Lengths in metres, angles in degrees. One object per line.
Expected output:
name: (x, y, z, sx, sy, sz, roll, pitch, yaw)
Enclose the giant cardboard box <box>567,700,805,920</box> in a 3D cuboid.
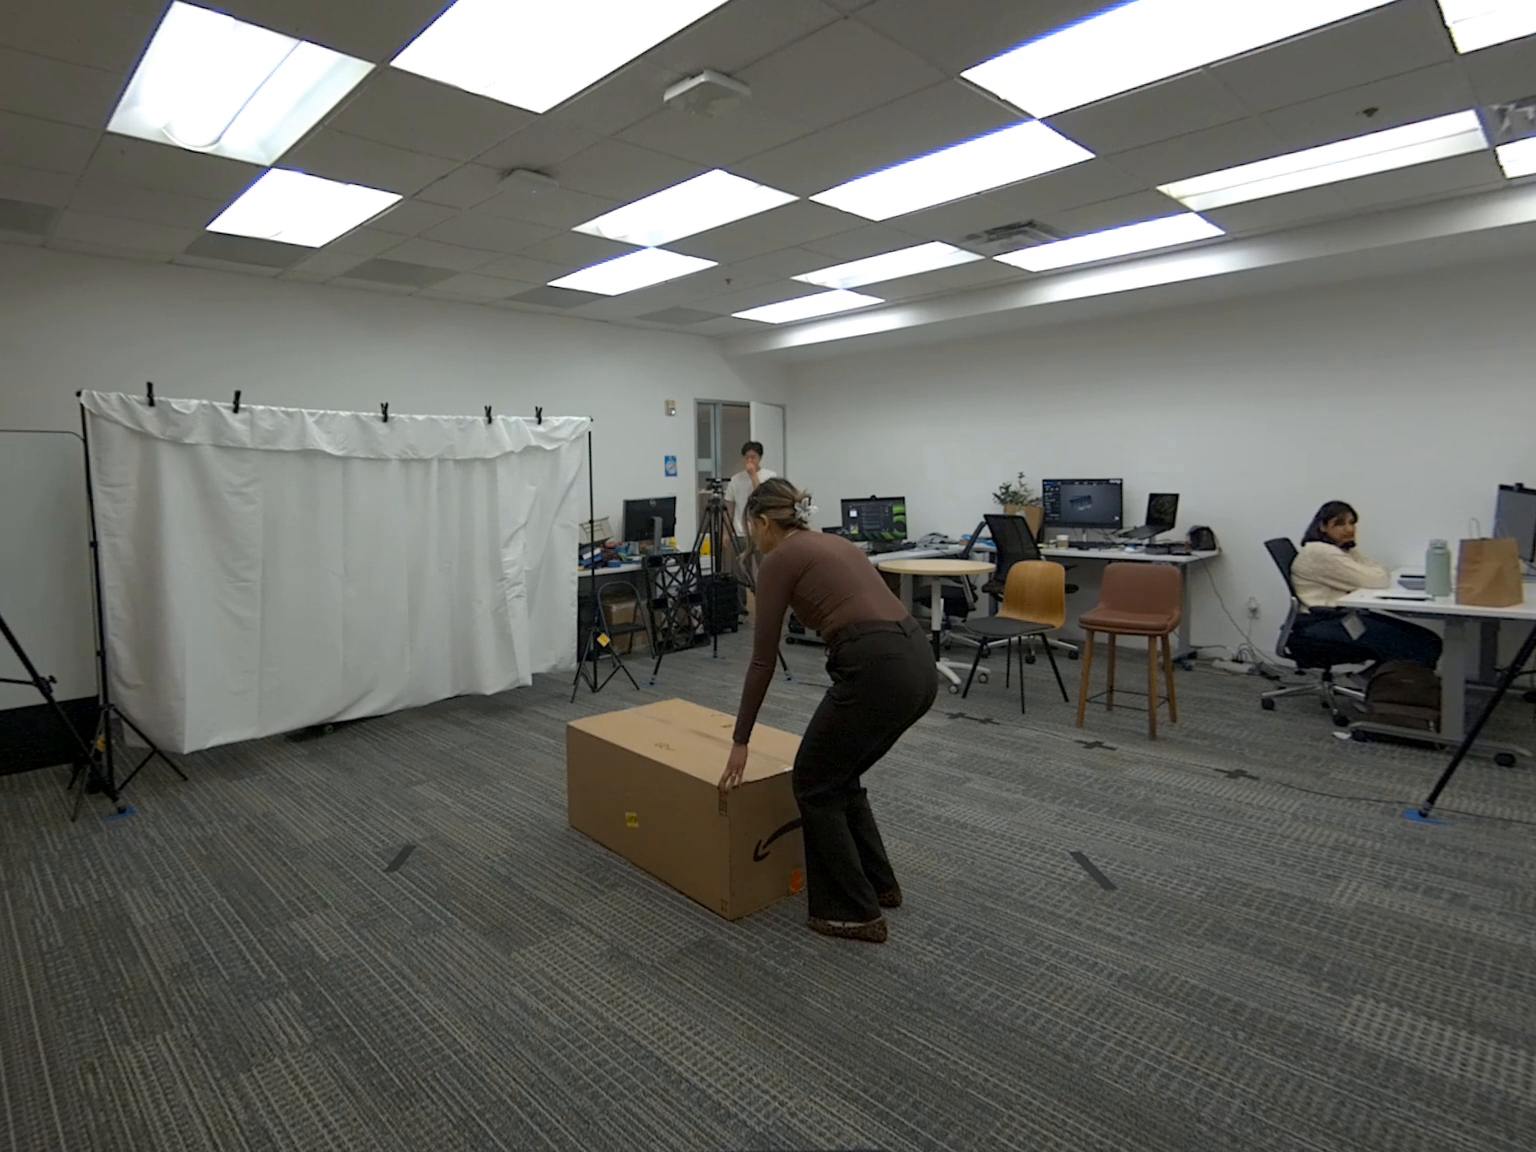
giant cardboard box: (-0.259, 0.820, 3.251, 0.569, 0.445, 1.058, -7, 8, -41)
